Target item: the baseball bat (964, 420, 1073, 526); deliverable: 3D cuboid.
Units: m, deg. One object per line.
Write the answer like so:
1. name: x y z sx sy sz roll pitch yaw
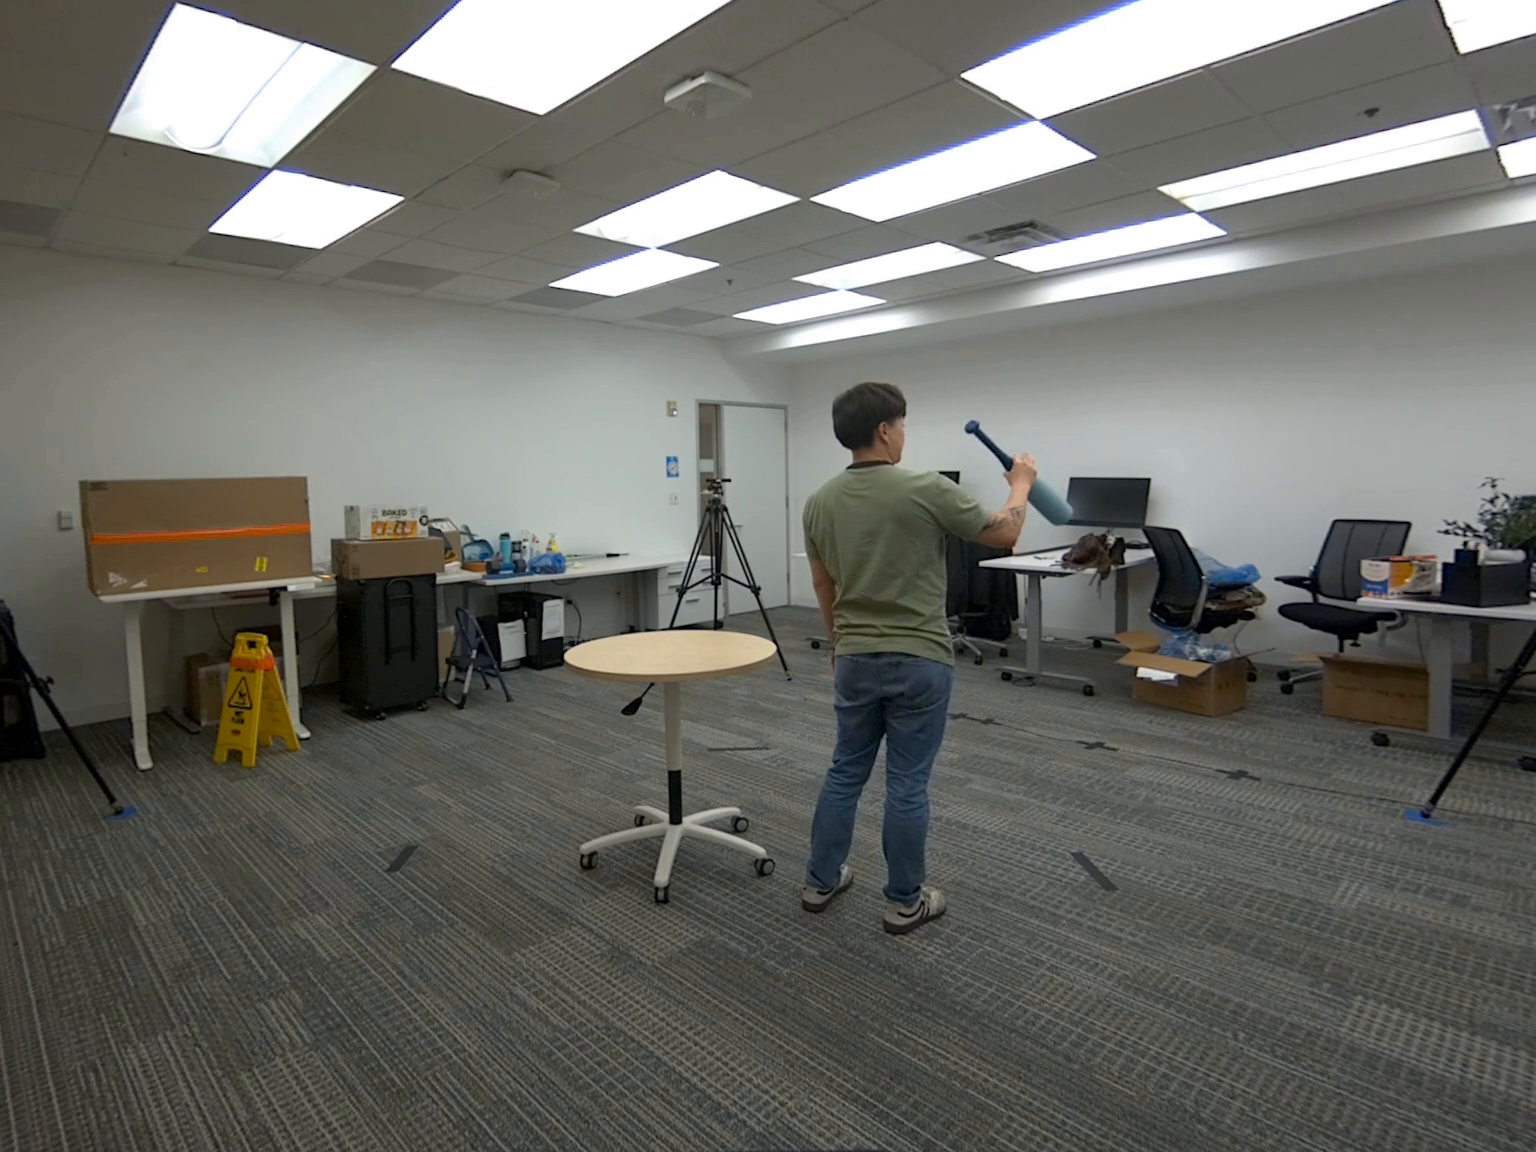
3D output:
1. baseball bat: 0.832 -0.347 2.825 0.526 0.089 0.091 37 -15 -27
